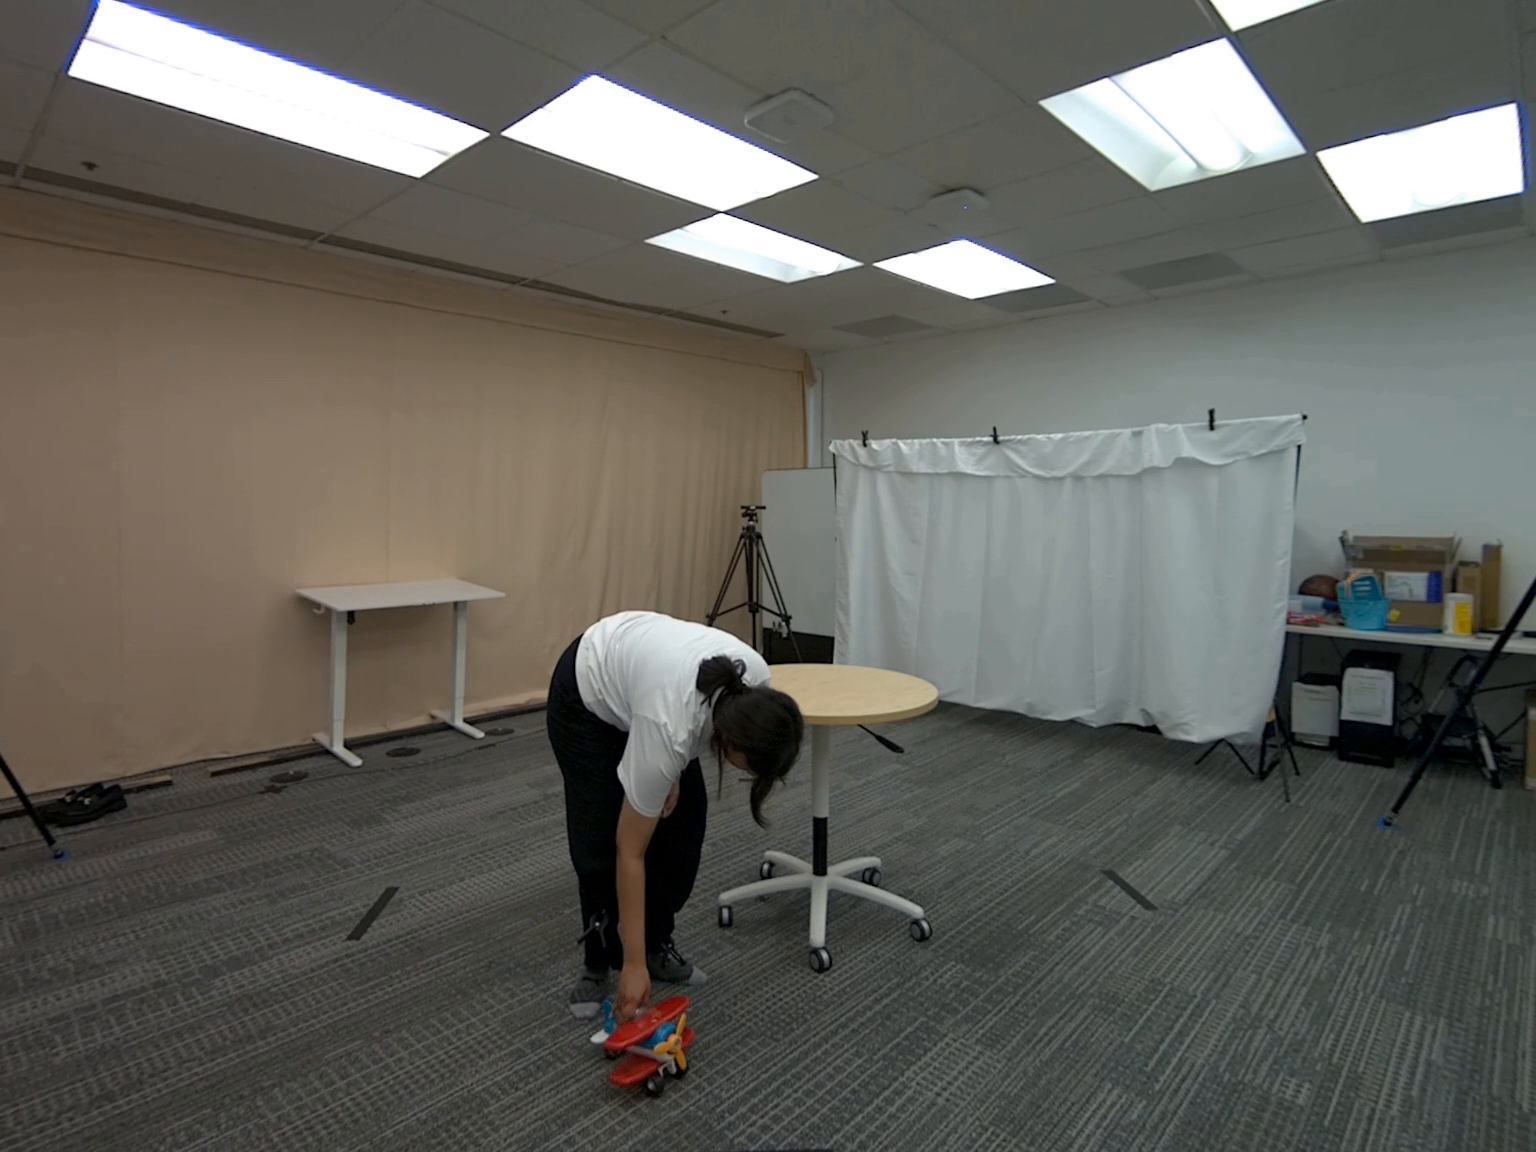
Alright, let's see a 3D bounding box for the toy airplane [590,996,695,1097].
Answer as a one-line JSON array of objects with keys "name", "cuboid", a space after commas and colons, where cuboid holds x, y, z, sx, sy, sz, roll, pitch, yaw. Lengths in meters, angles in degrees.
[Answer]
[{"name": "toy airplane", "cuboid": [-0.319, 1.153, 2.048, 0.263, 0.156, 0.248, 1, 5, 11]}]
